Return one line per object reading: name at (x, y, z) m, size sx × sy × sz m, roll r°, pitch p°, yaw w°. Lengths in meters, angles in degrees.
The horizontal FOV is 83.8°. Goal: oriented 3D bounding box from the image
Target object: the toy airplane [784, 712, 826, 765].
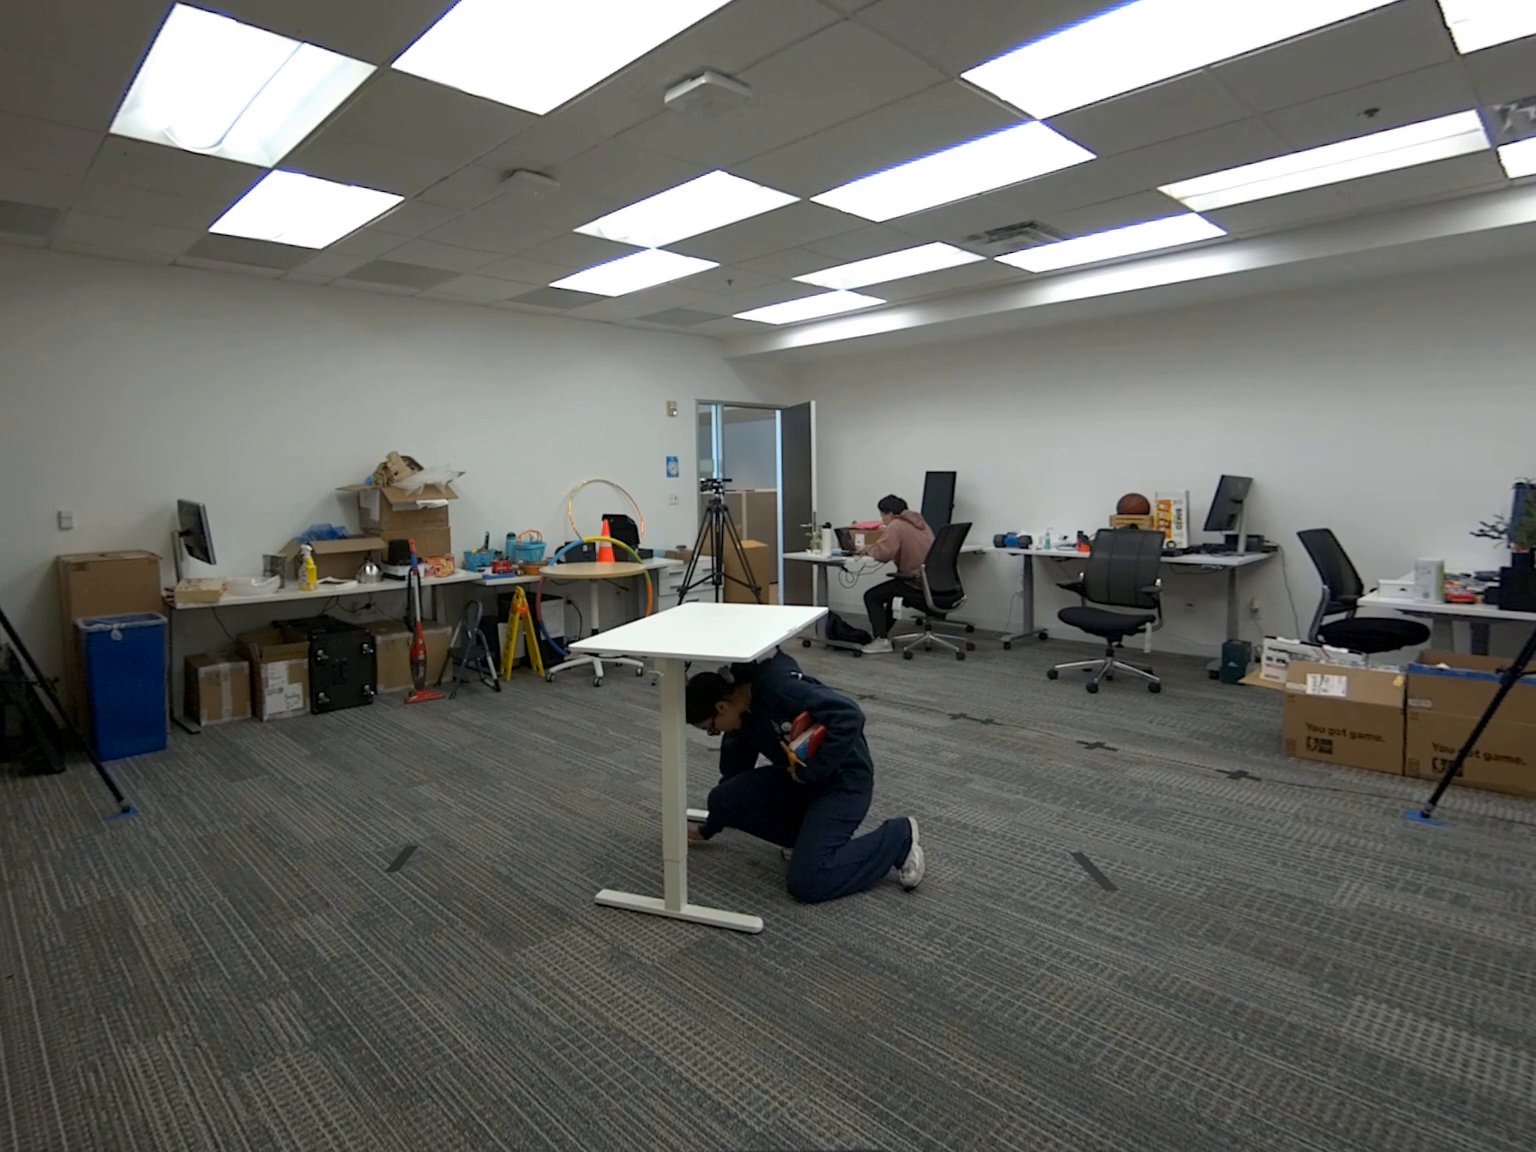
toy airplane at (0.153, 0.525, 2.915) m, size 0.241 × 0.259 × 0.162 m, roll 37°, pitch 14°, yaw -51°
